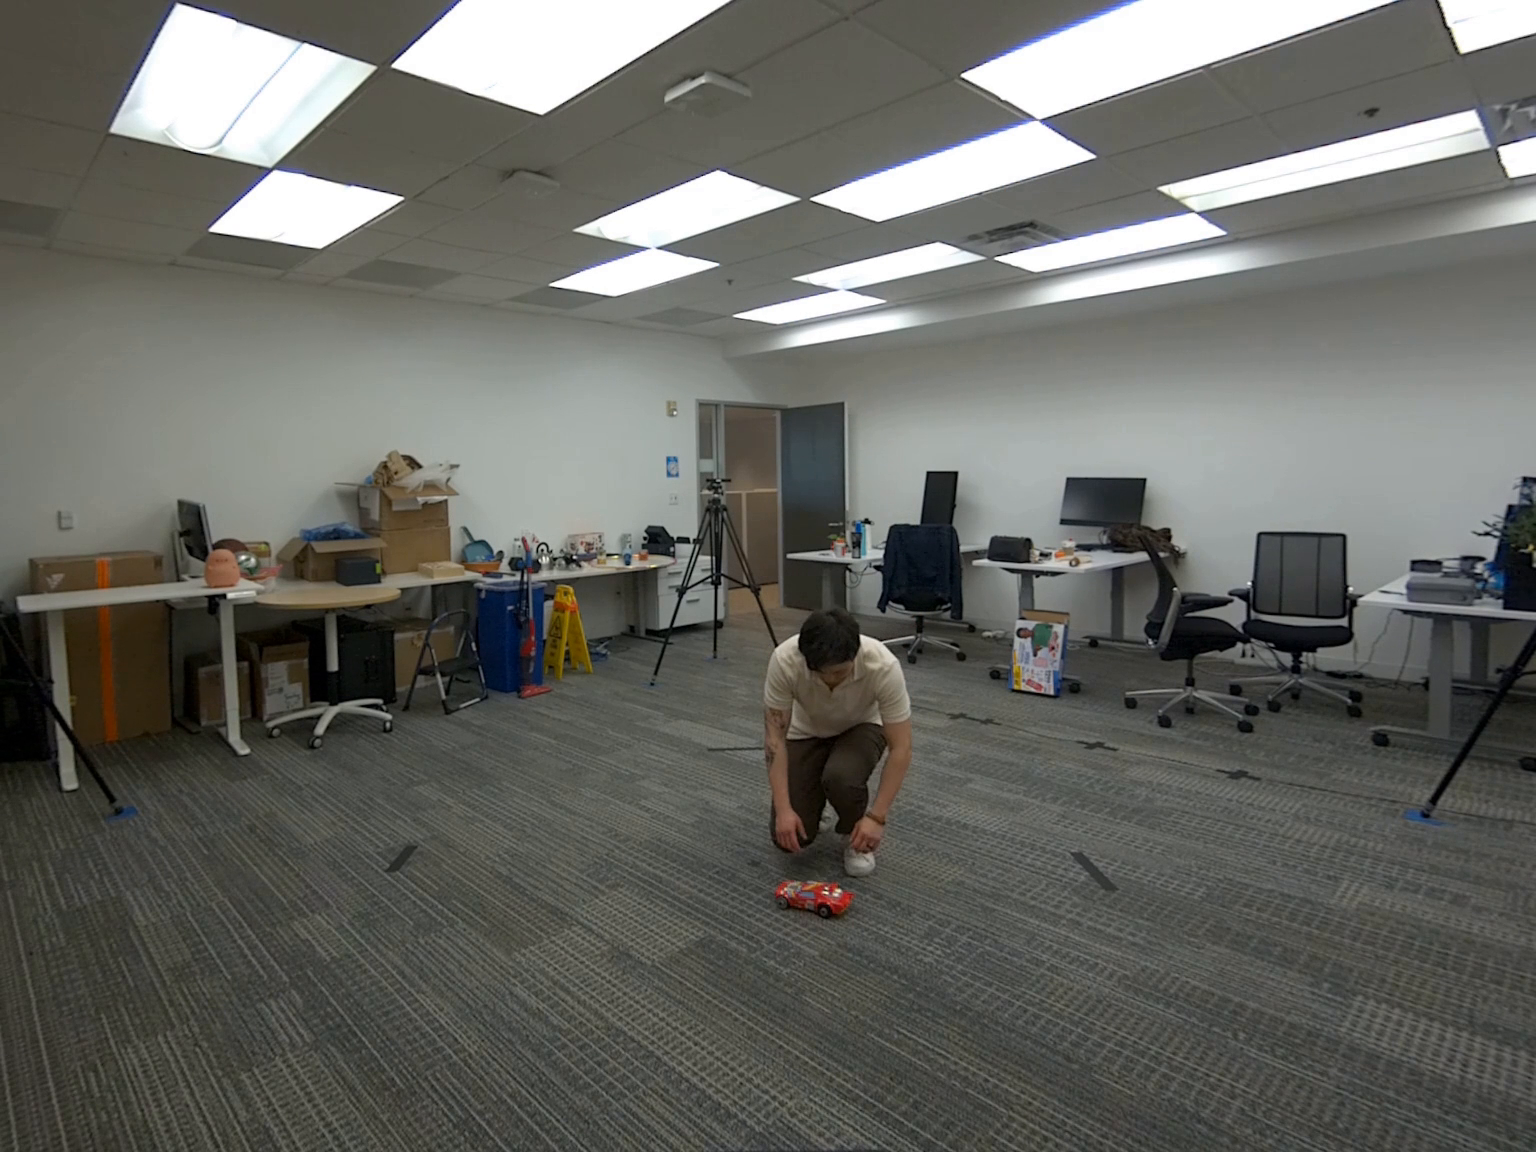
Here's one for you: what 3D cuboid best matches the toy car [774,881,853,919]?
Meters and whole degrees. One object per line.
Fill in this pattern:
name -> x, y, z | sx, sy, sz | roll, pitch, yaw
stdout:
toy car -> 0.153, 1.049, 2.776 | 0.259, 0.083, 0.128 | -10, 1, 26
